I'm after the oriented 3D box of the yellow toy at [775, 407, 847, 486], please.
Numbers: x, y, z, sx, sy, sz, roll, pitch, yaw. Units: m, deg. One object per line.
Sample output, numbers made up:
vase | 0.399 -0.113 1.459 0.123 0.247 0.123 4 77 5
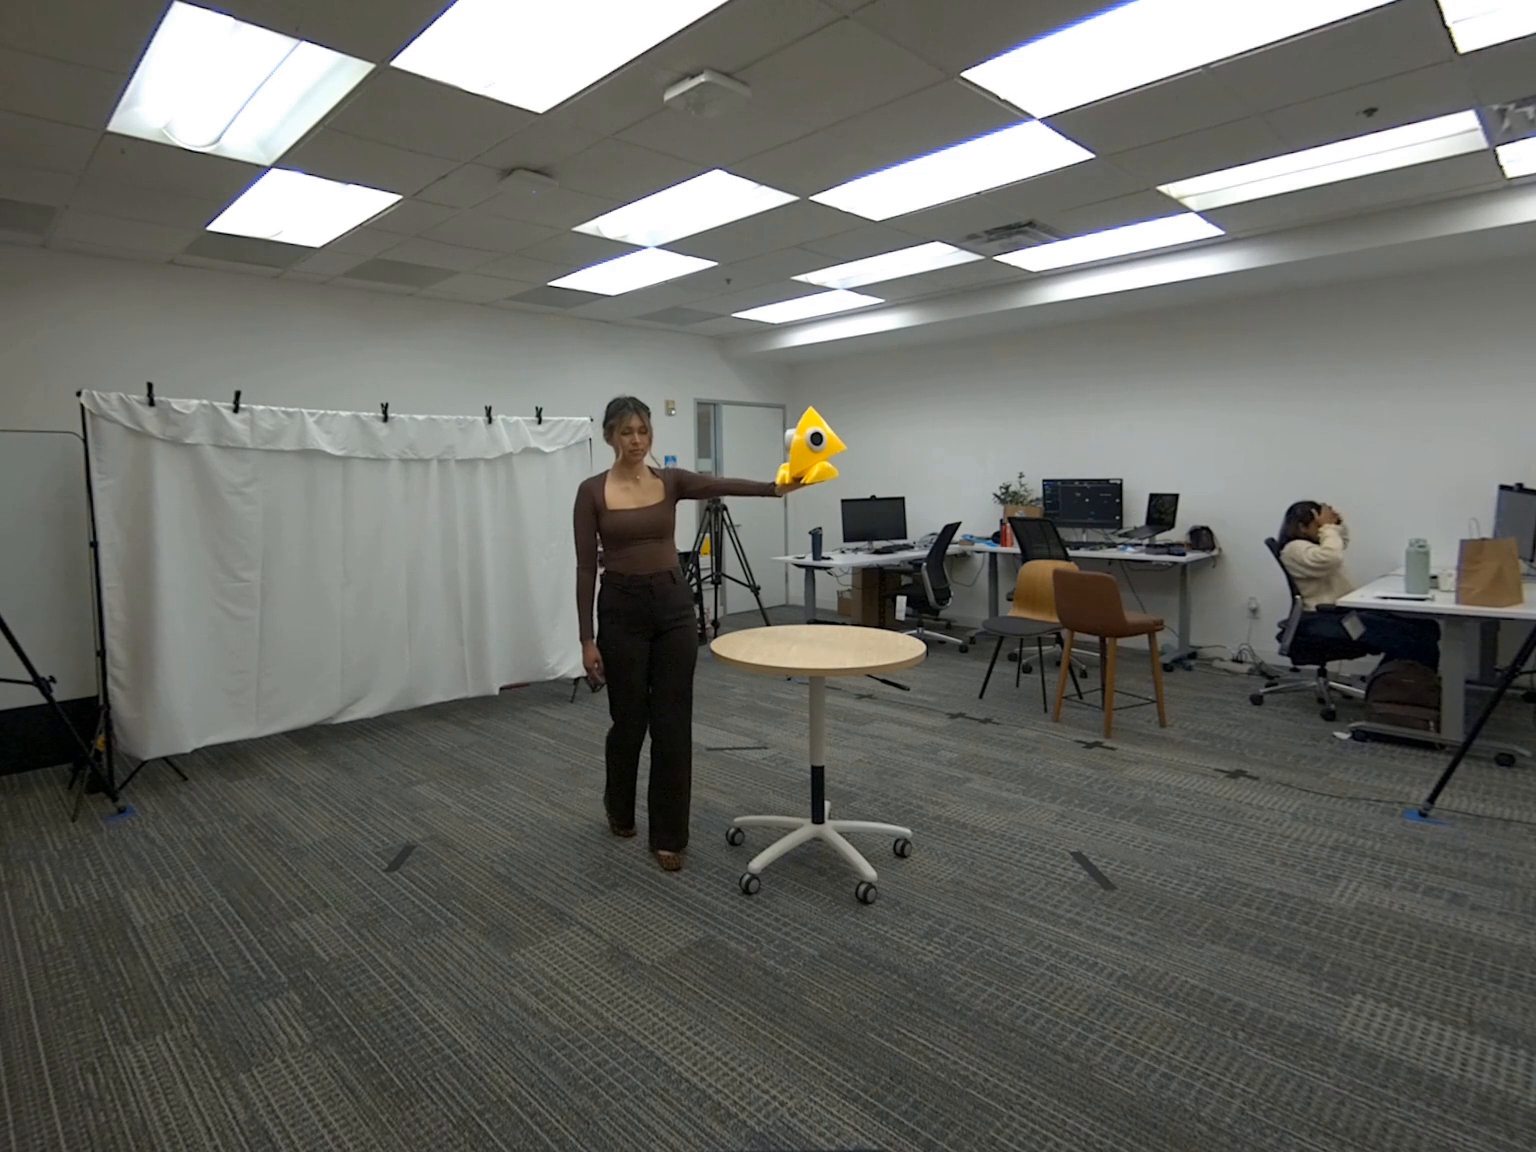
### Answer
yellow toy | 0.121 -0.431 2.796 0.211 0.228 0.189 4 17 43
